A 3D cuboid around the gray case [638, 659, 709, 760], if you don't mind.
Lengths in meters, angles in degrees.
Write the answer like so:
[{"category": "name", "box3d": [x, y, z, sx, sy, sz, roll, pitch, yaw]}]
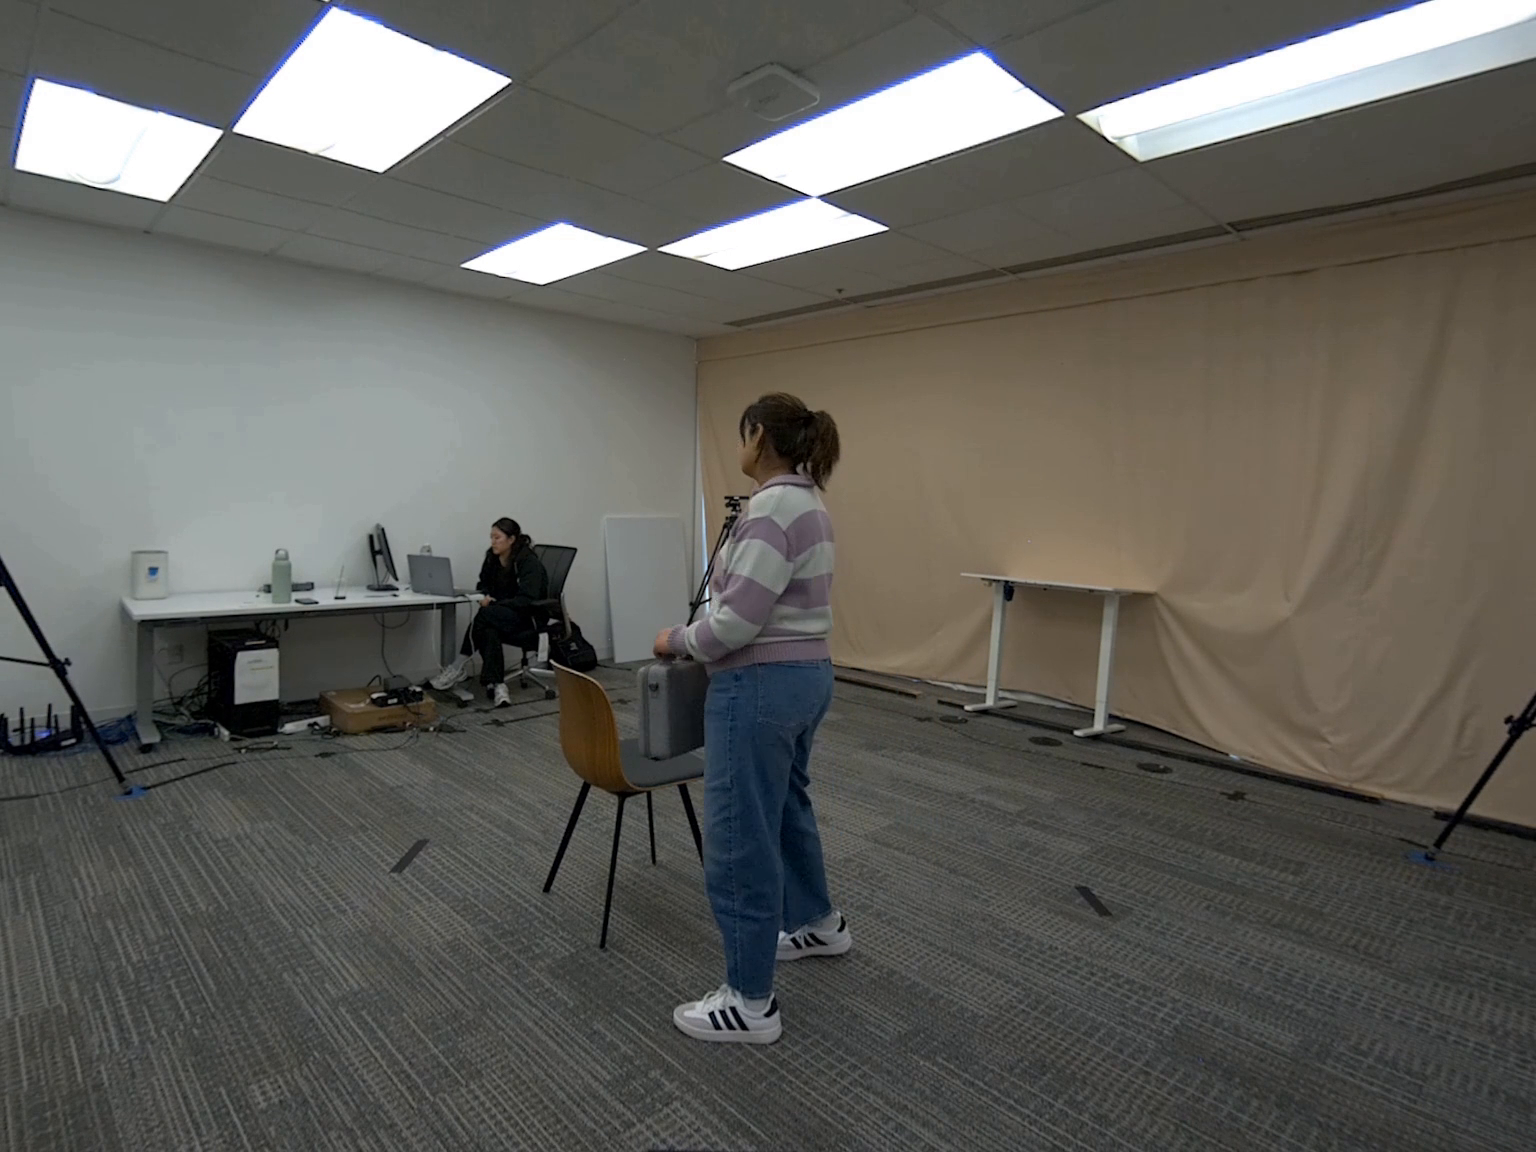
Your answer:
[{"category": "gray case", "box3d": [-0.243, 0.362, 2.347, 0.106, 0.261, 0.251, -2, 0, 32]}]
